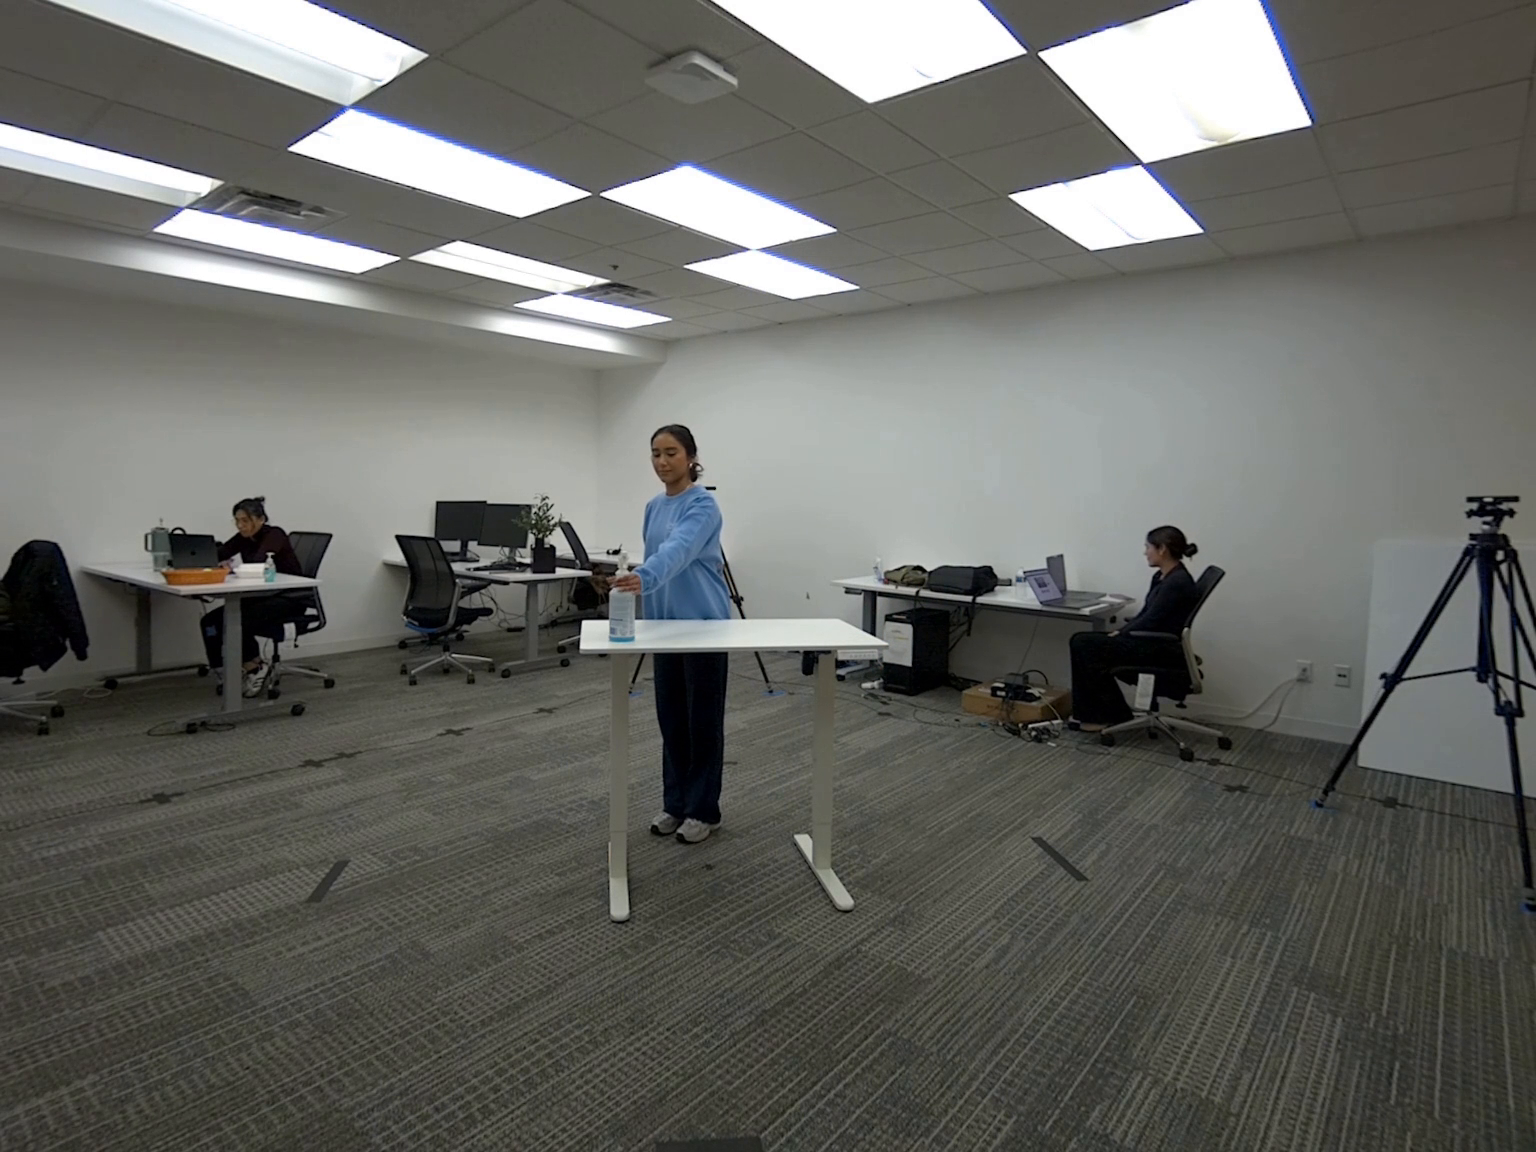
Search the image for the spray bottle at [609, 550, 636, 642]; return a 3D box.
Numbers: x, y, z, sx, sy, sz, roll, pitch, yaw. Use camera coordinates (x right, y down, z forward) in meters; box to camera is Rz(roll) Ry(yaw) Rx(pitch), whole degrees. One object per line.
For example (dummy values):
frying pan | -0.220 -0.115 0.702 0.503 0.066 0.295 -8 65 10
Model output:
spray bottle | -0.500 0.063 2.803 0.088 0.296 0.089 1 3 11
